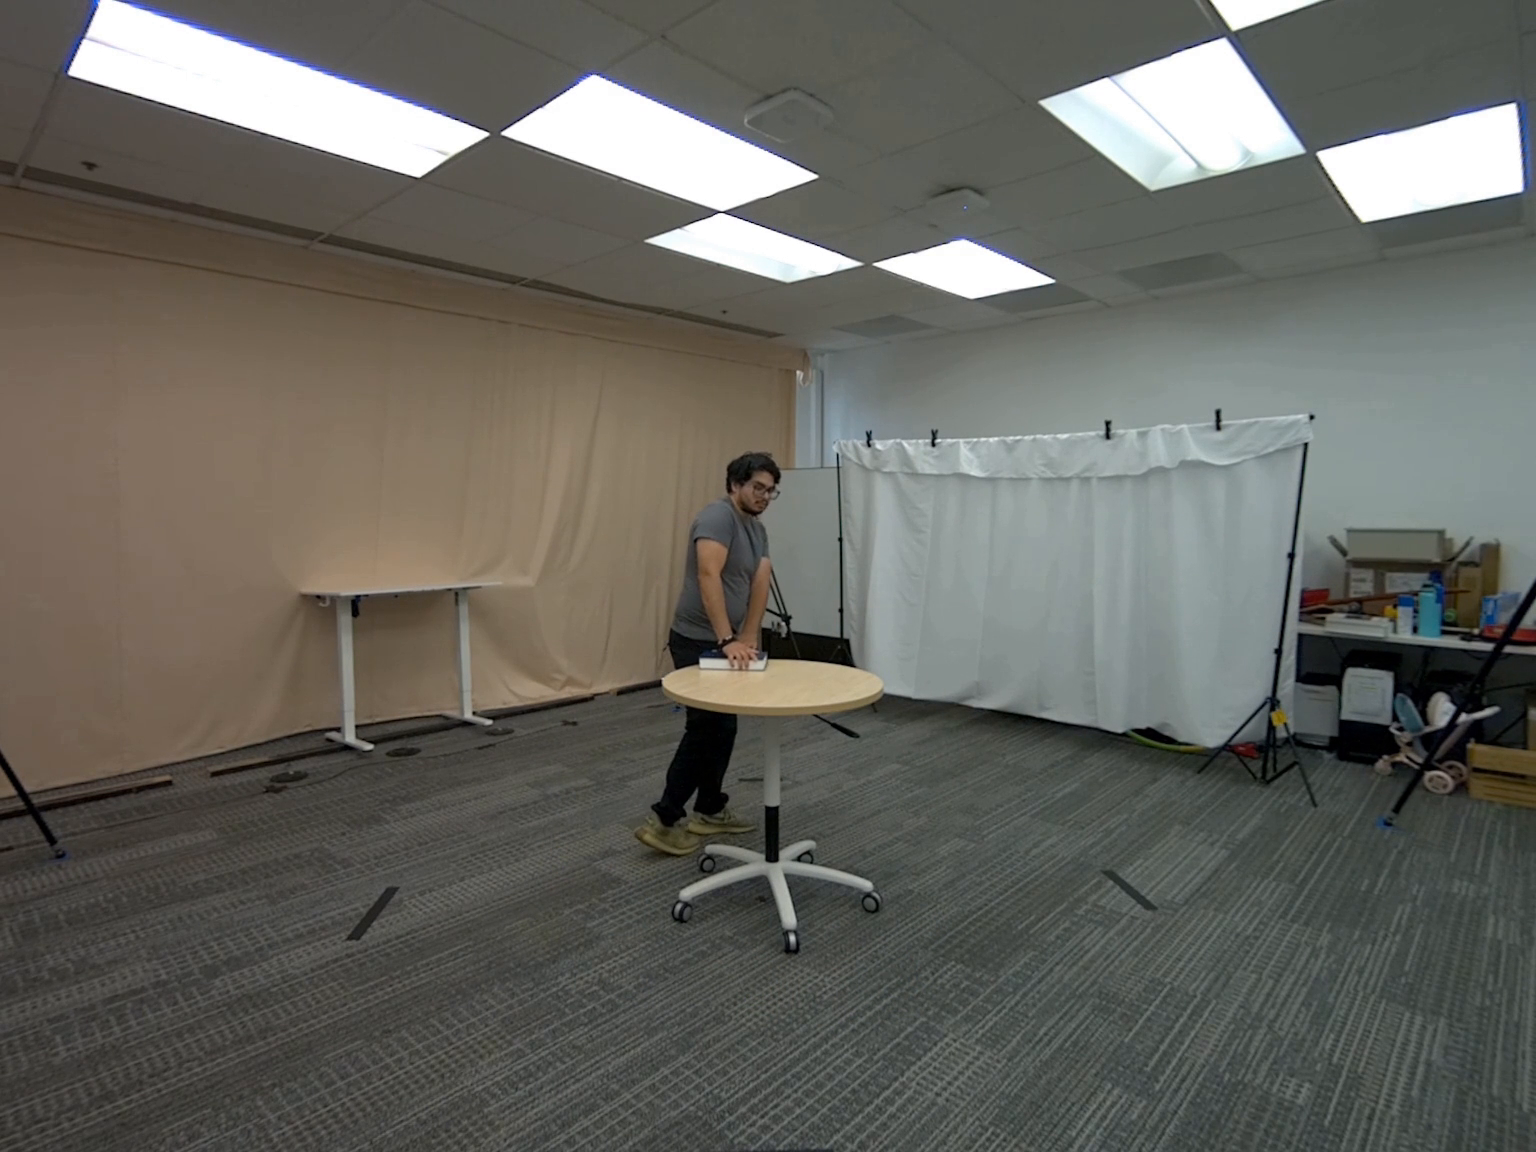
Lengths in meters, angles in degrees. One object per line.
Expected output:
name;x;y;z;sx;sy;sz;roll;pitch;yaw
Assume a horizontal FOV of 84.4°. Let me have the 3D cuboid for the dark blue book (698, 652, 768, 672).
dark blue book;-0.124;0.321;3.188;0.247;0.045;0.163;0;5;6
